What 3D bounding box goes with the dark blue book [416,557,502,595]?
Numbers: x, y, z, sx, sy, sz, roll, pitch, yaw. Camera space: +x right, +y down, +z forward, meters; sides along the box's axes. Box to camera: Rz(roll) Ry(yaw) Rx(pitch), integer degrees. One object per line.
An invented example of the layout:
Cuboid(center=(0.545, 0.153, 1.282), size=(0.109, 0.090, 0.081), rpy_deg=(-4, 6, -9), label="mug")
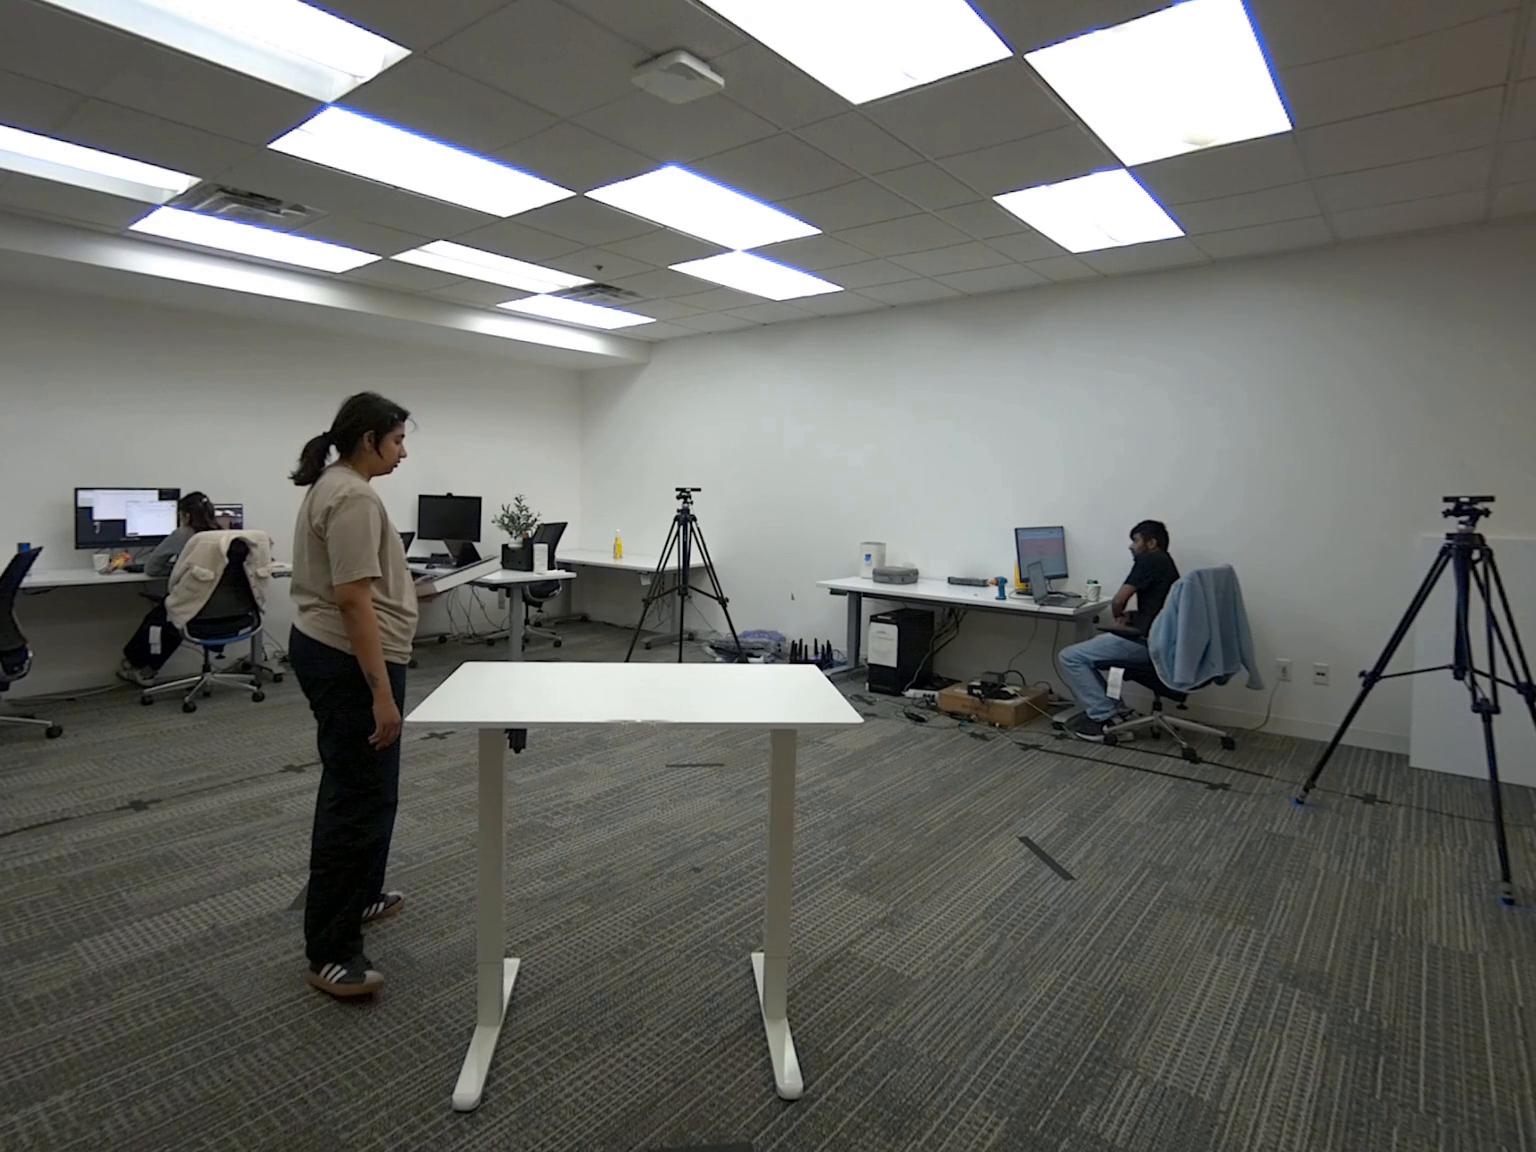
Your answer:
Cuboid(center=(-1.020, 0.004, 2.756), size=(0.168, 0.045, 0.241), rpy_deg=(-7, 15, 45), label="dark blue book")
